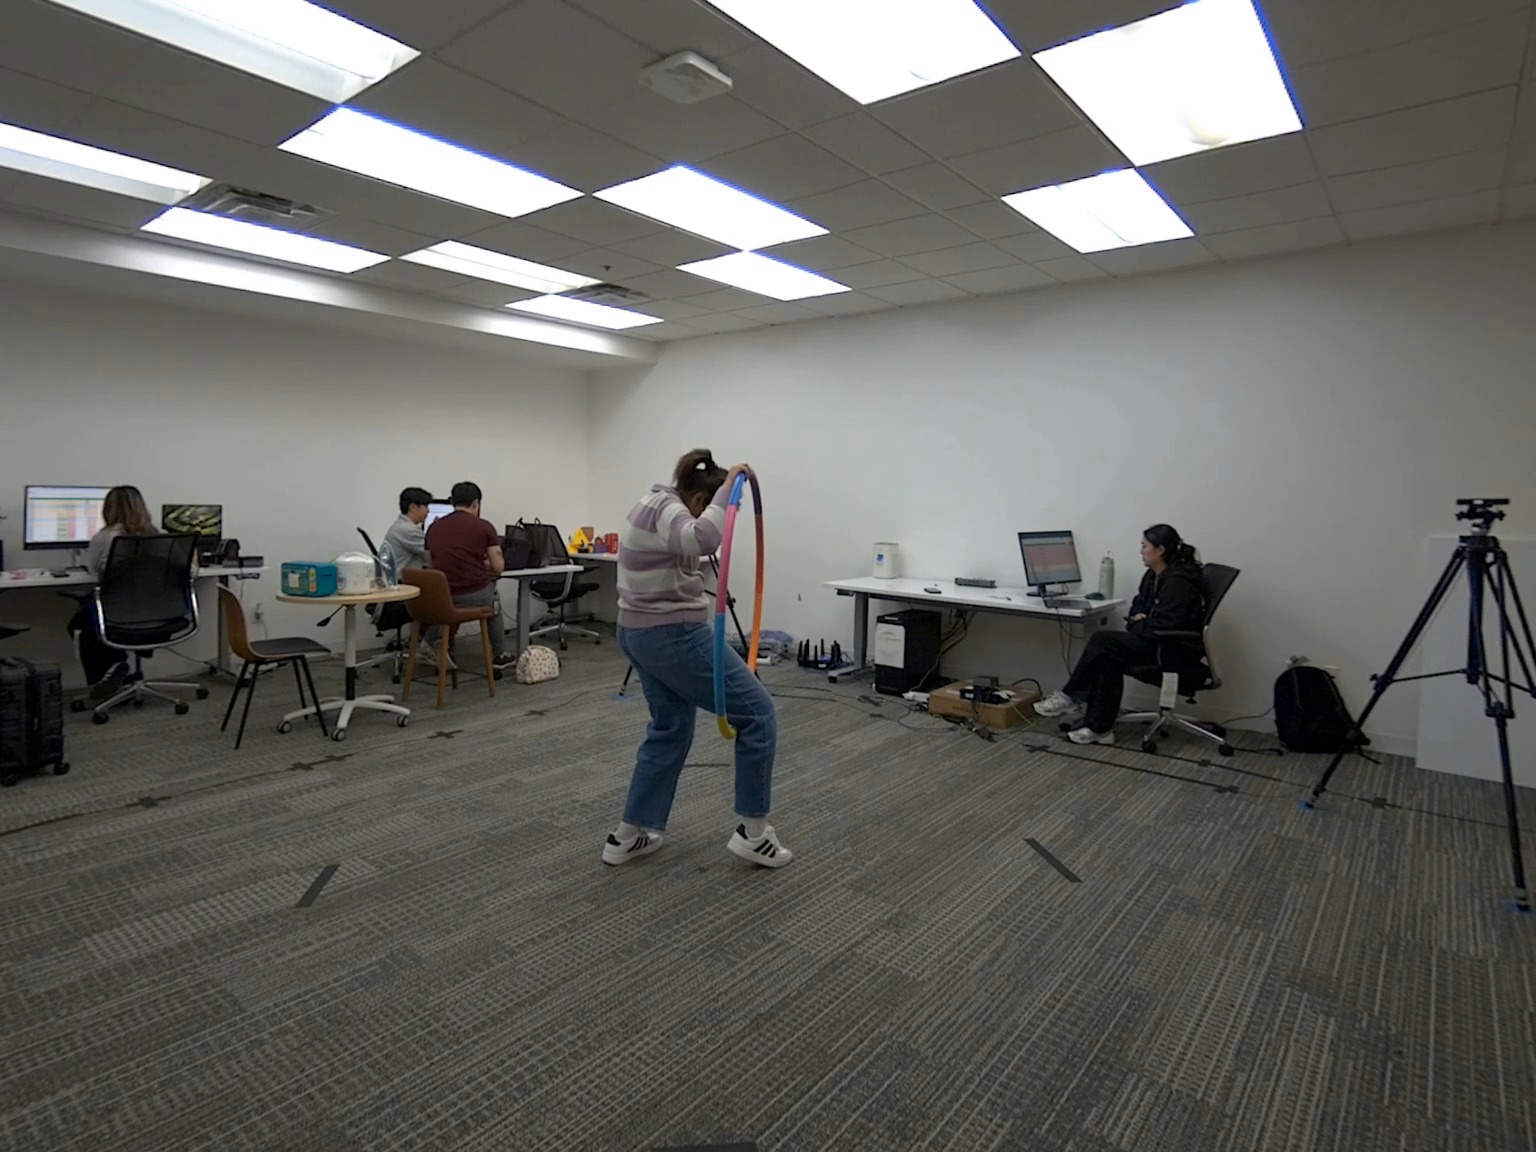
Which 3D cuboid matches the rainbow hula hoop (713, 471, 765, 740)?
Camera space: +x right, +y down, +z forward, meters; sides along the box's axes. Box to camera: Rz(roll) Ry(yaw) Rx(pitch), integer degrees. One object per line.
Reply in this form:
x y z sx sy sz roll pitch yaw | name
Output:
-0.116 0.091 3.117 0.052 0.982 0.979 3 4 6 | rainbow hula hoop
